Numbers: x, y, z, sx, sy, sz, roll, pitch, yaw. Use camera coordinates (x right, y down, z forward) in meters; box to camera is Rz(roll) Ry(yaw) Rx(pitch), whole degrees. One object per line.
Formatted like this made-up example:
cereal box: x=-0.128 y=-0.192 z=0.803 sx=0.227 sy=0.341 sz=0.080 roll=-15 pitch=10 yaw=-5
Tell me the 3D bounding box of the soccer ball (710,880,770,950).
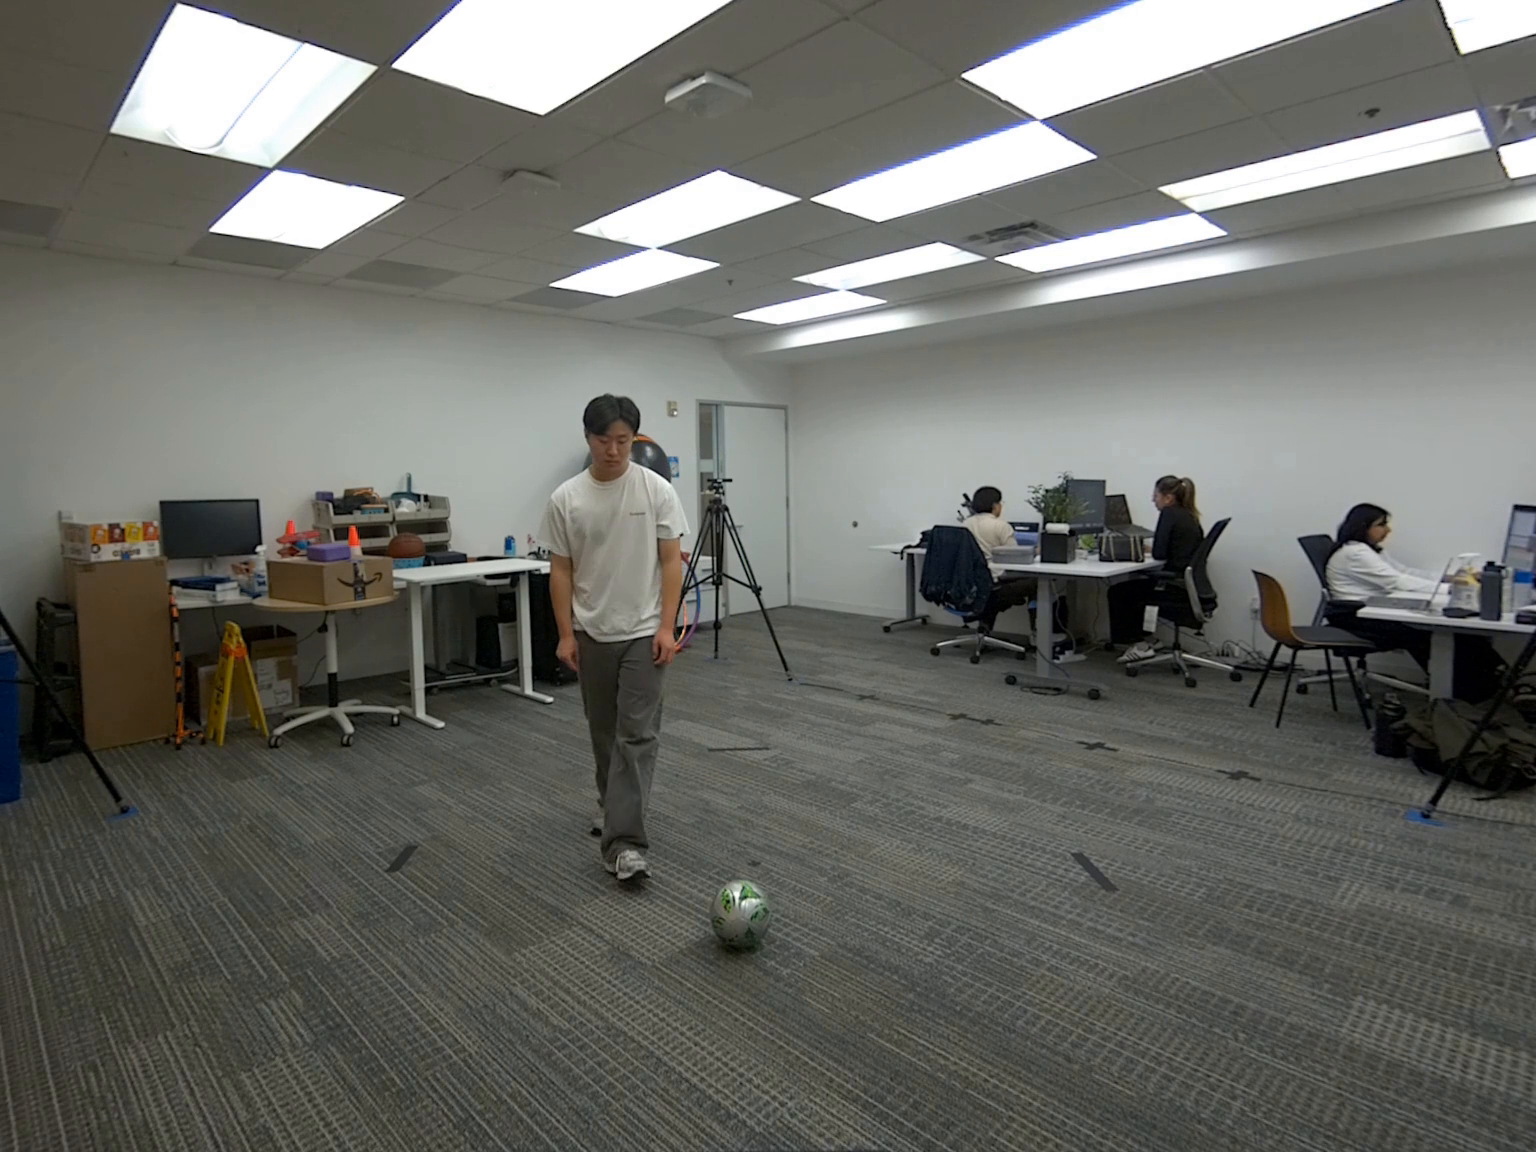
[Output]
soccer ball: x=-0.075 y=1.018 z=2.572 sx=0.187 sy=0.187 sz=0.188 roll=-1 pitch=5 yaw=-2
